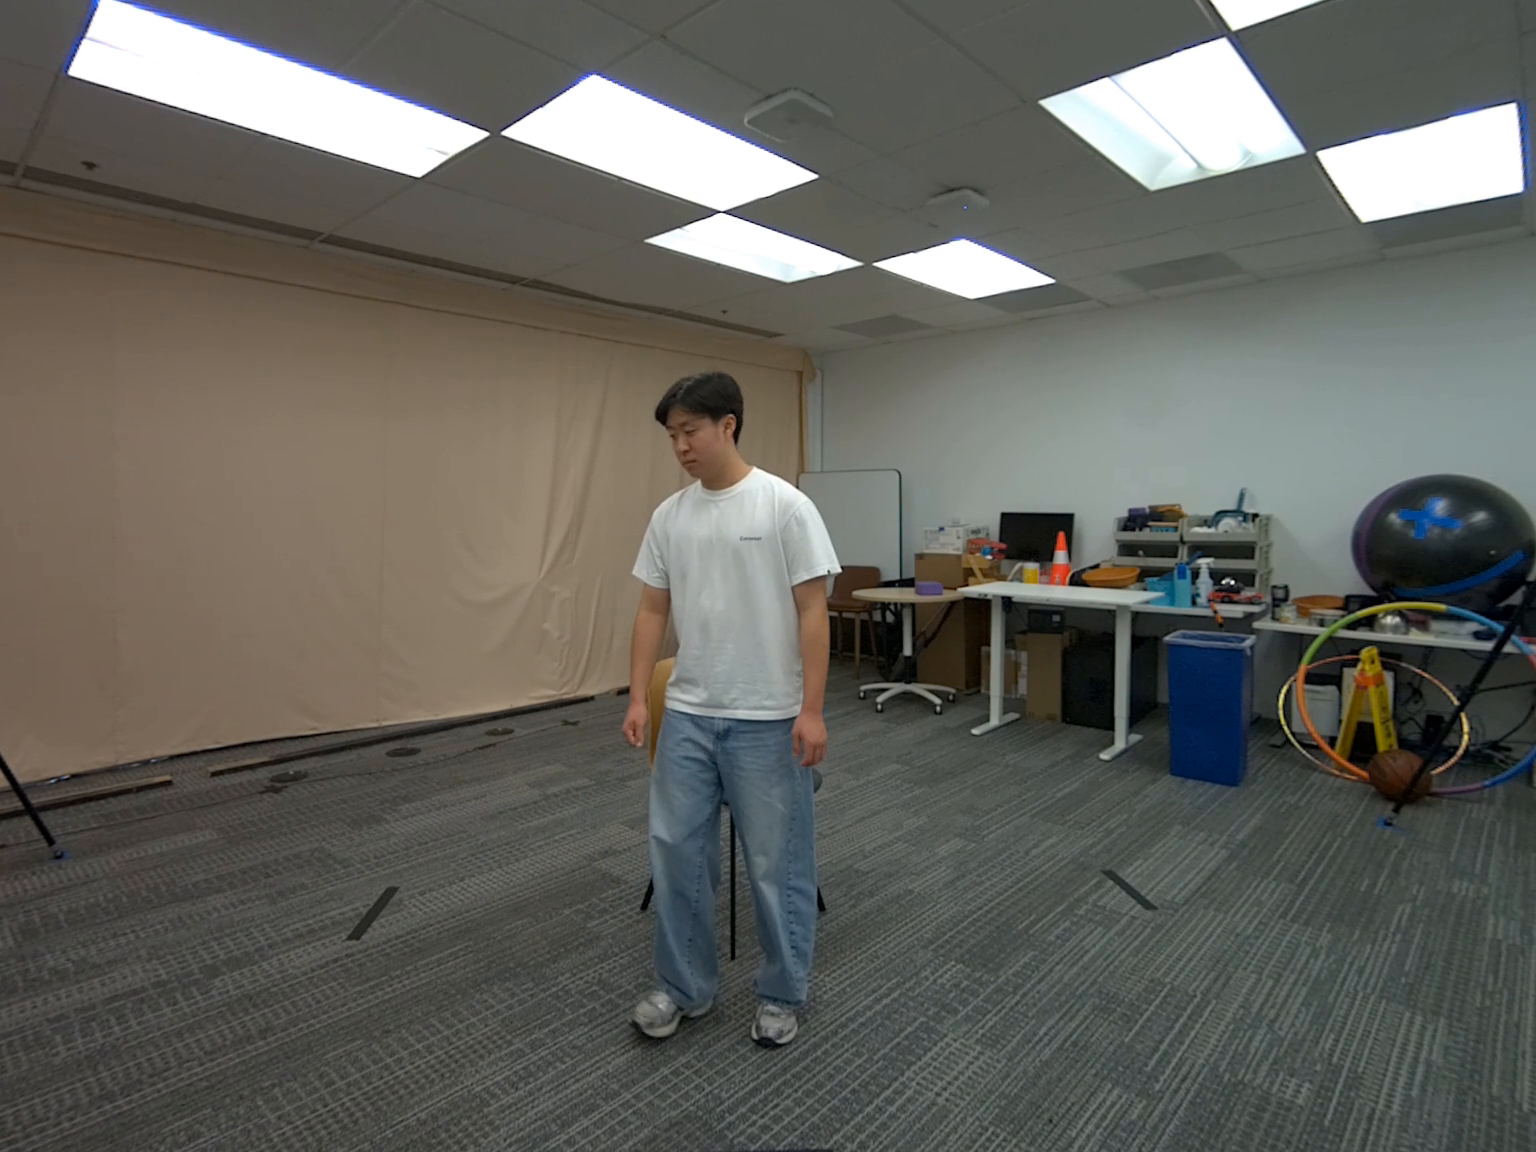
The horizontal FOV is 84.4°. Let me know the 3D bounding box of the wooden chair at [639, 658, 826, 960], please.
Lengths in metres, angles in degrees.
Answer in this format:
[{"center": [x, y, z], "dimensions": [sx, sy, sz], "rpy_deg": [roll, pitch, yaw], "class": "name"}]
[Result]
[{"center": [-0.115, 0.727, 2.857], "dimensions": [0.539, 0.877, 0.463], "rpy_deg": [-3, 0, 45], "class": "wooden chair"}]
